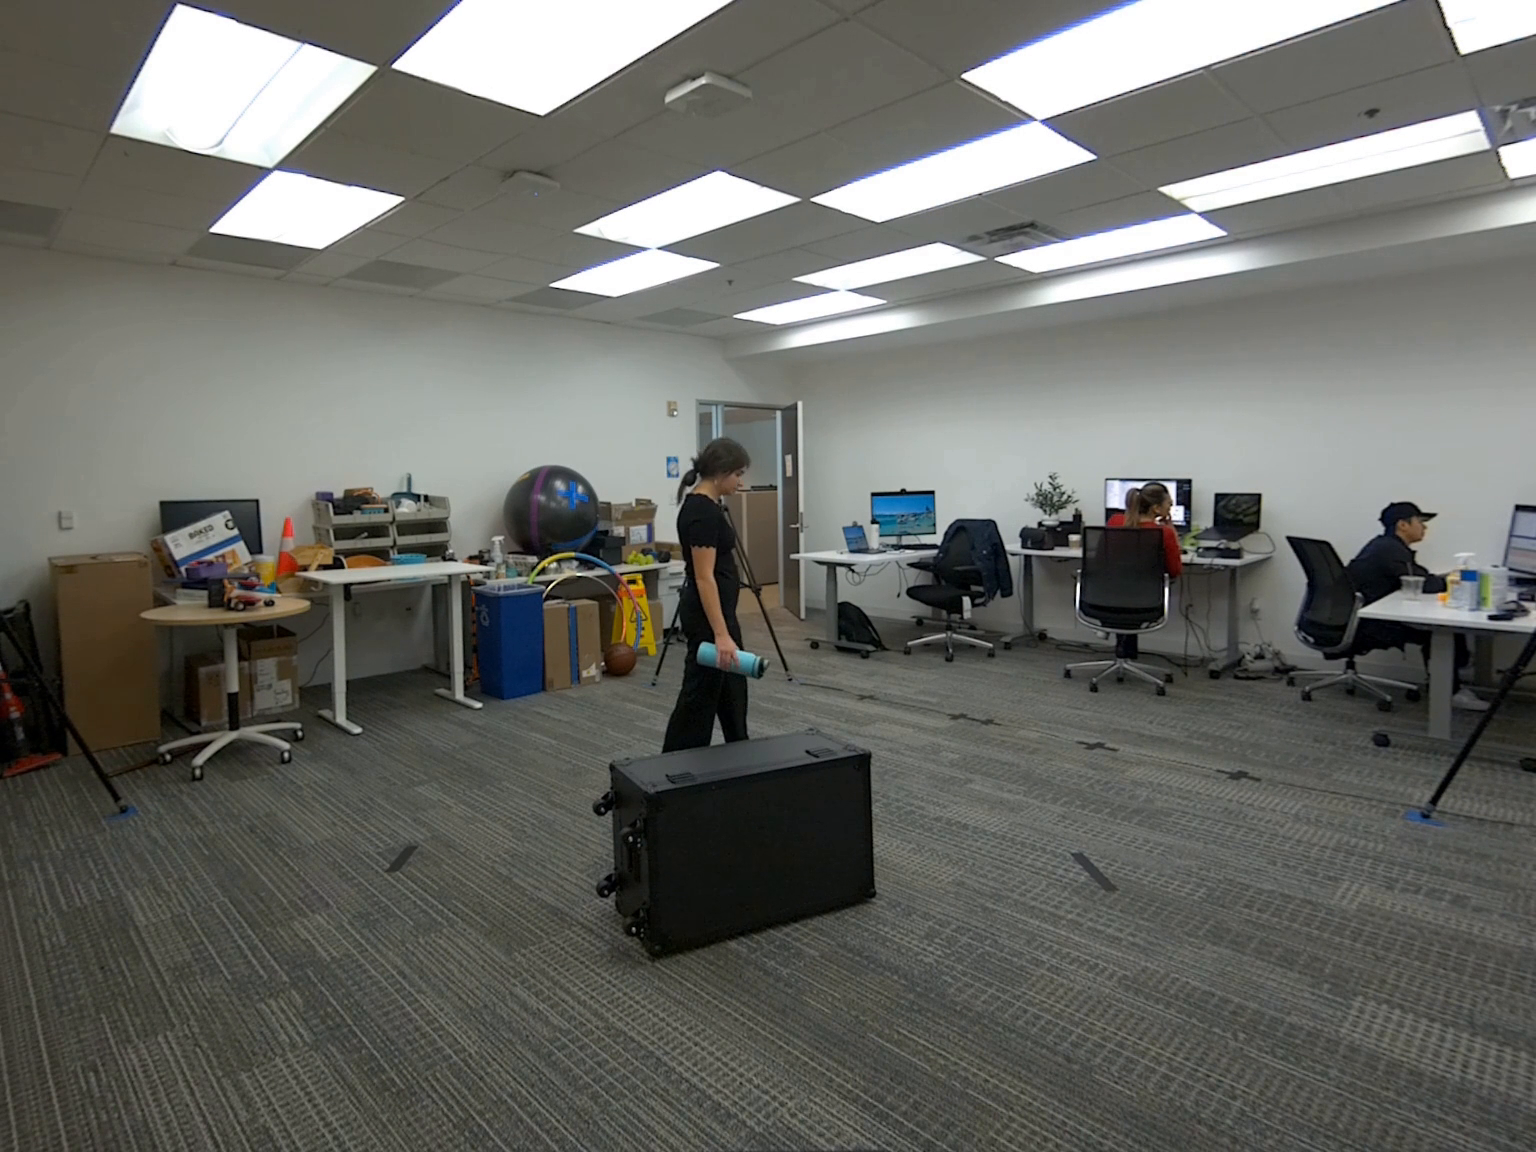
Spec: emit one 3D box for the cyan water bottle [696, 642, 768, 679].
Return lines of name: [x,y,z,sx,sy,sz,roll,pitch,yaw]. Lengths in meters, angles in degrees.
cyan water bottle: [-0.132,0.338,3.413,0.287,0.092,0.091,11,7,11]
